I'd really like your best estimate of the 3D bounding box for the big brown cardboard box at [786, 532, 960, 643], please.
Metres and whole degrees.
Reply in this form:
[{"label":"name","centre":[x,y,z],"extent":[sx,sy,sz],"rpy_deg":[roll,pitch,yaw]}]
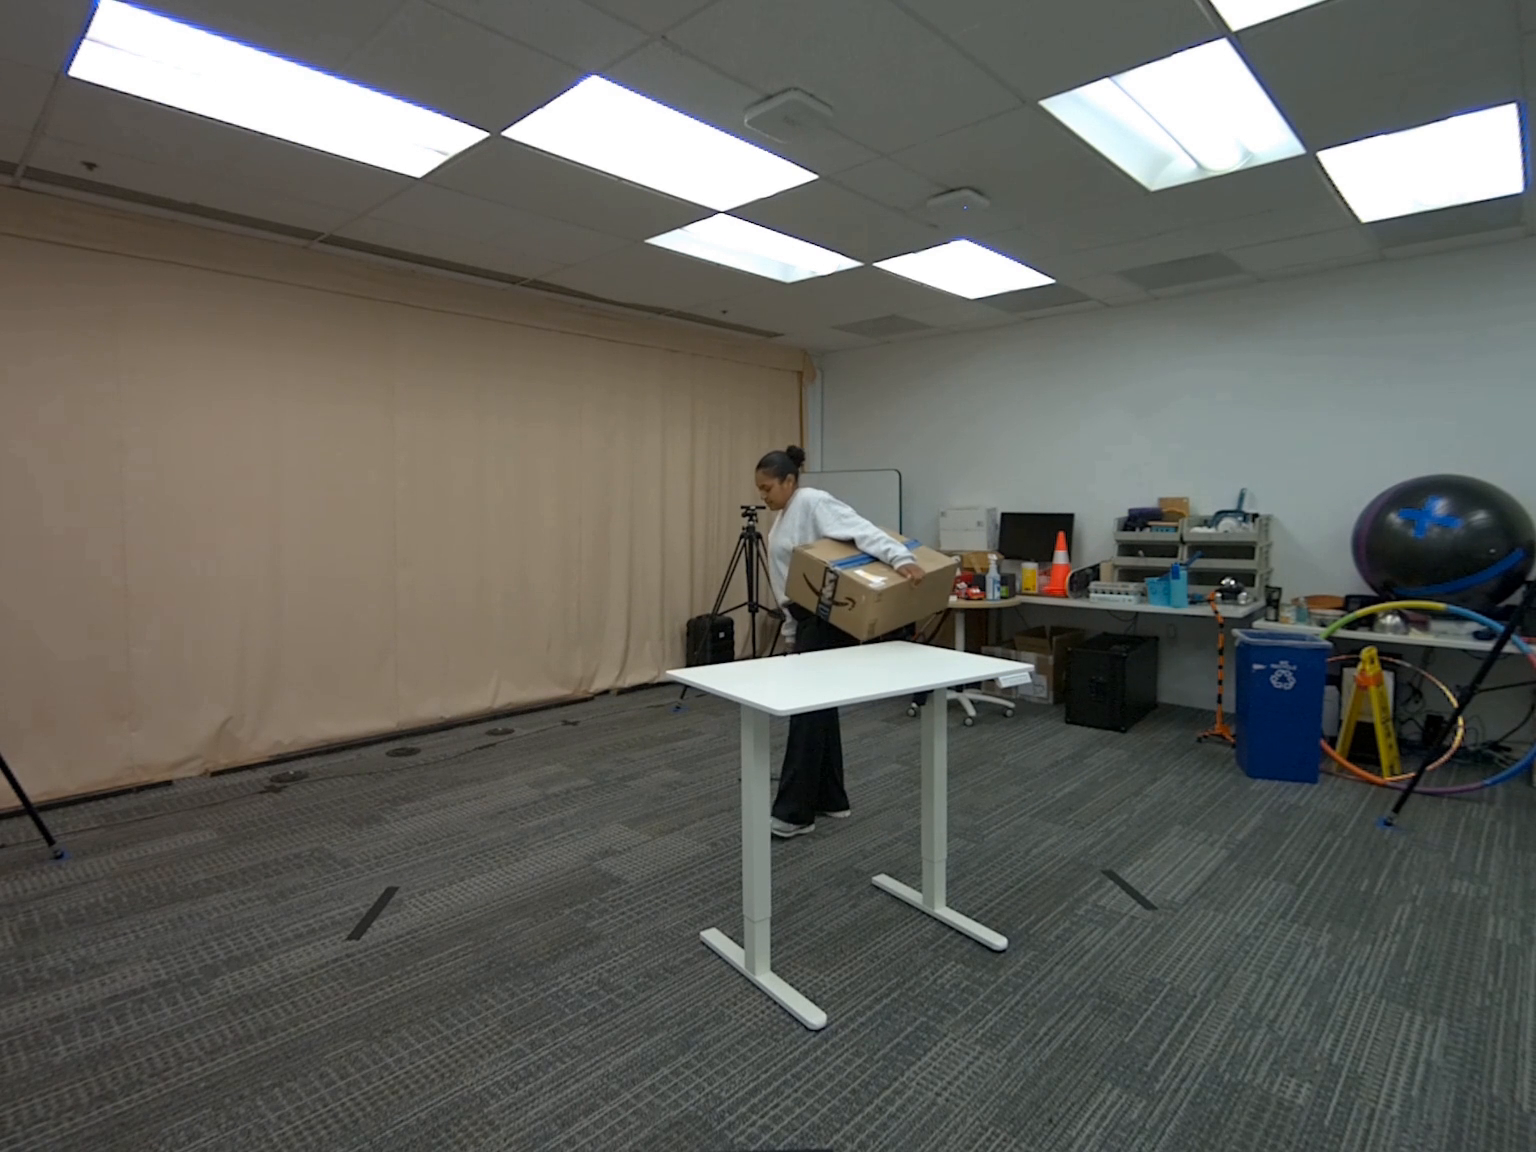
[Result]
[{"label":"big brown cardboard box","centre":[0.415,0.016,3.373],"extent":[0.573,0.231,0.433],"rpy_deg":[-14,32,-43]}]
